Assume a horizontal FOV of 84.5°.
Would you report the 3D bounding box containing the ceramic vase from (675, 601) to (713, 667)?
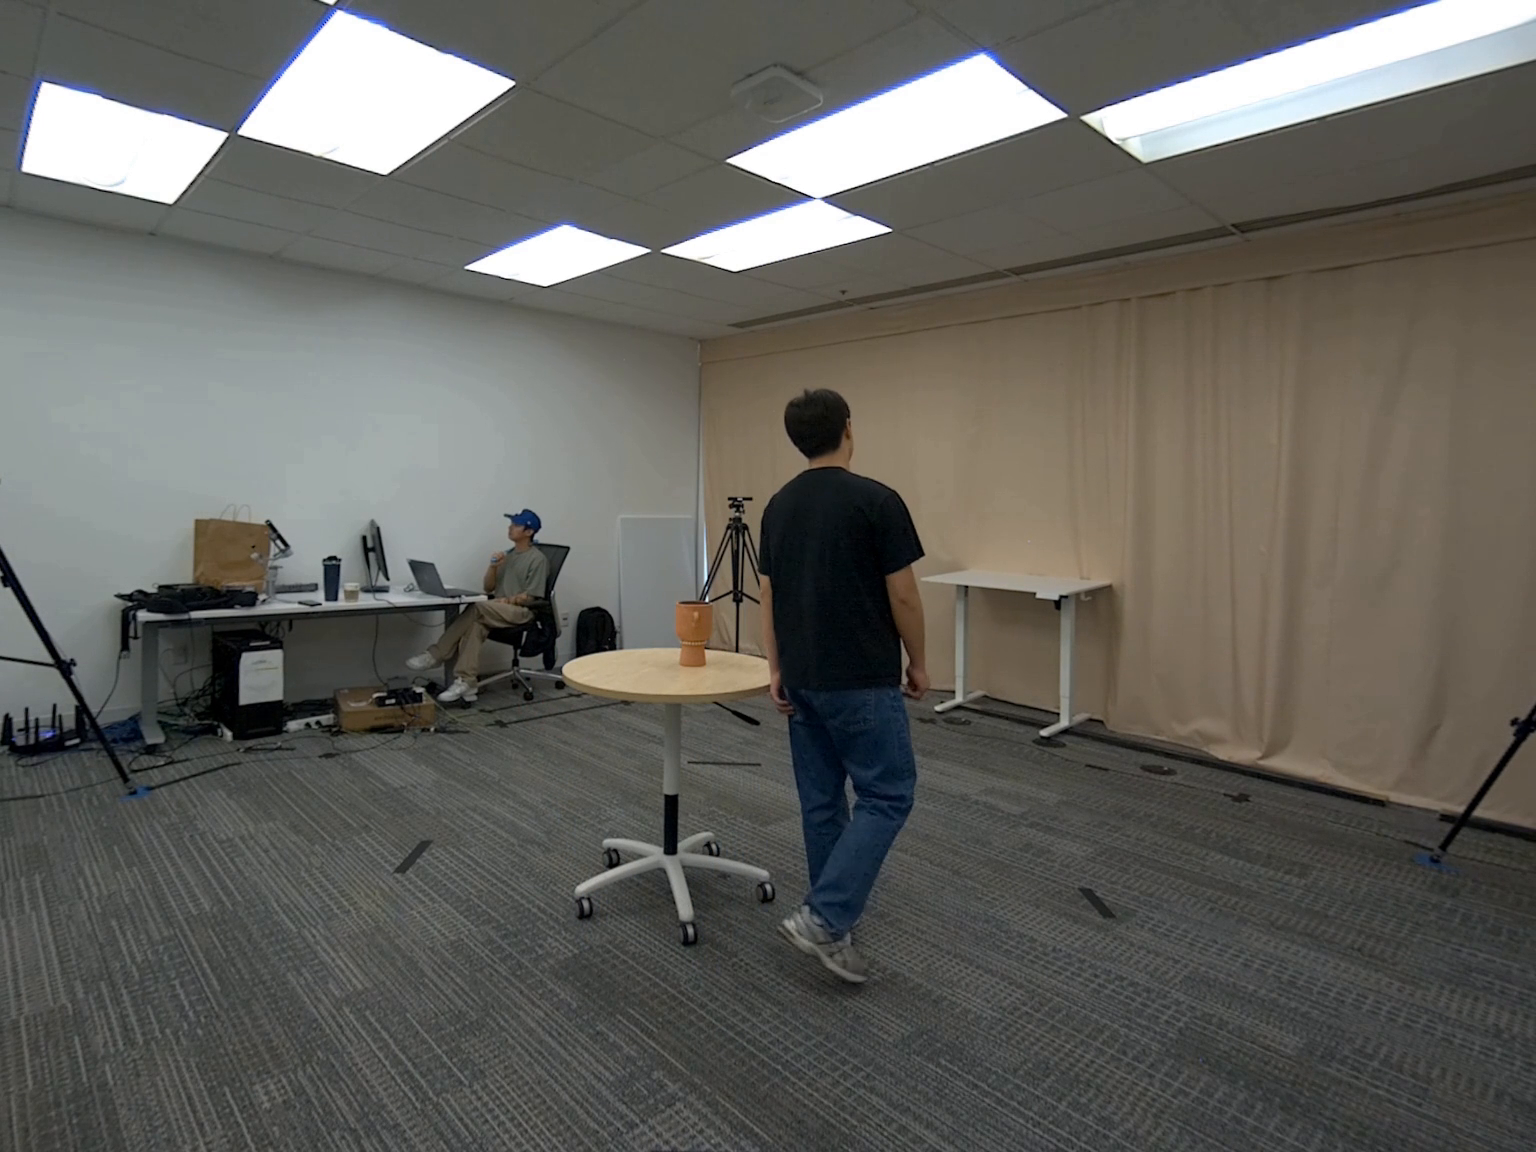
[{"bbox_3d":[-0.271,0.207,3.000,0.137,0.219,0.156,5,5,29],"label":"ceramic vase"}]
